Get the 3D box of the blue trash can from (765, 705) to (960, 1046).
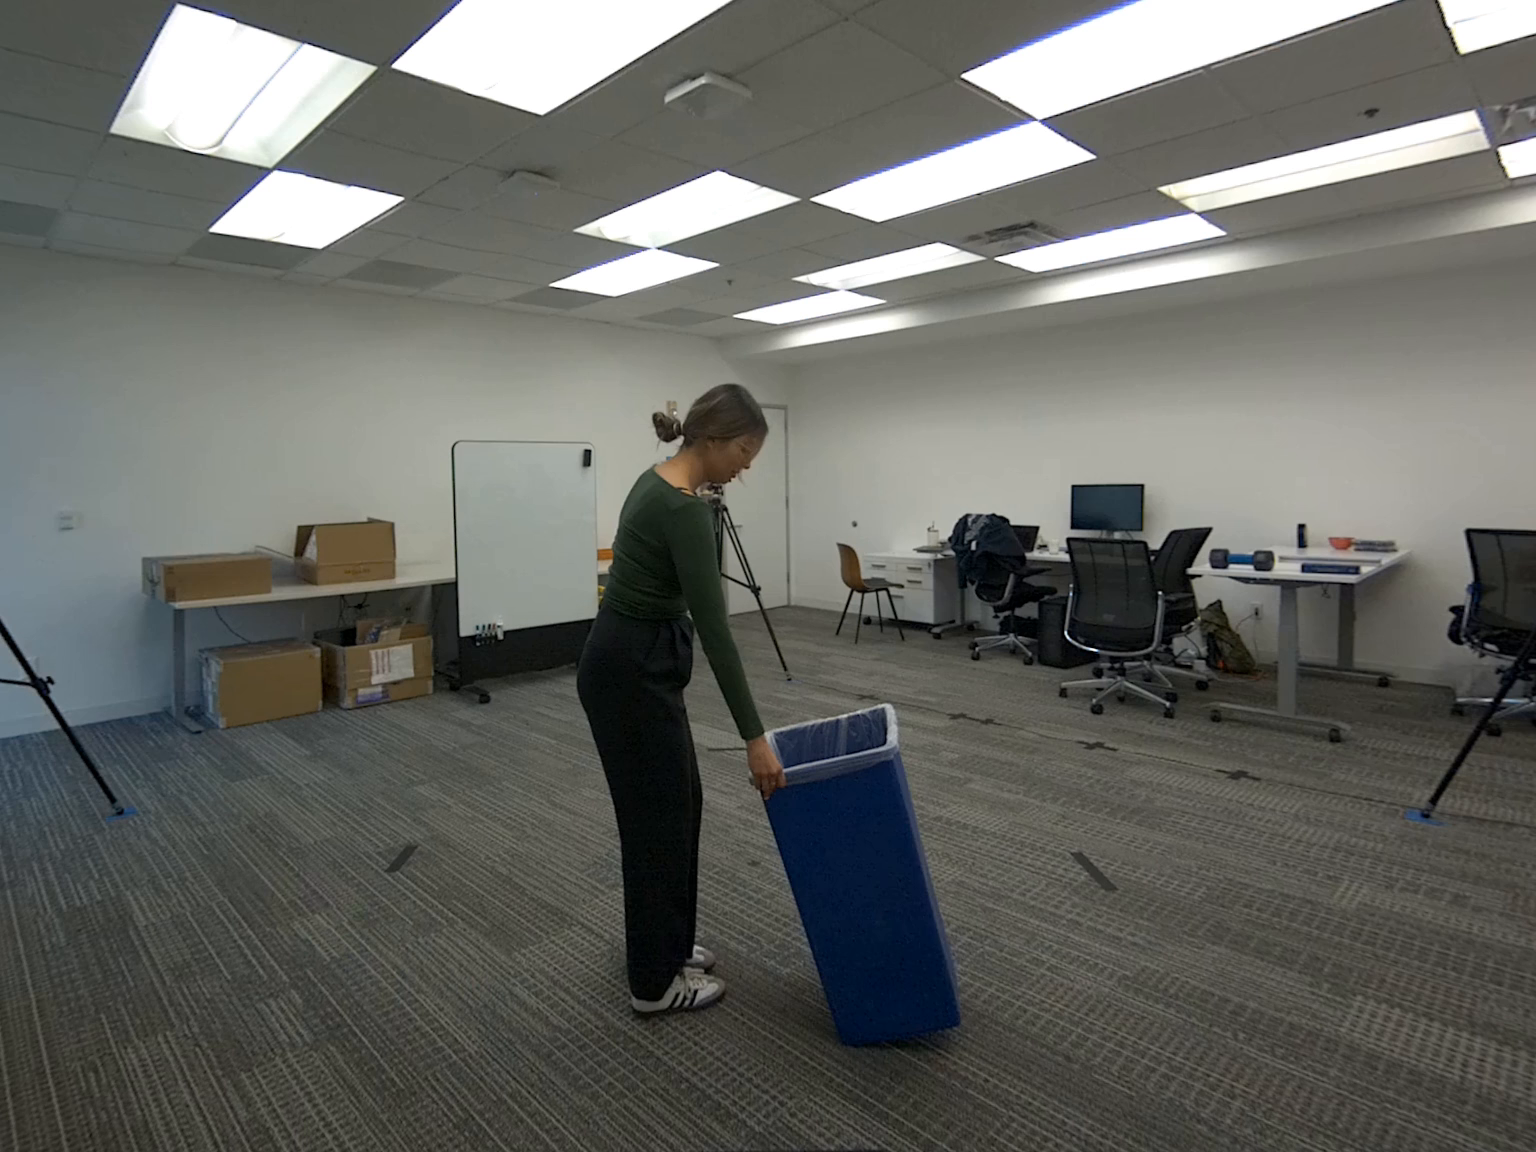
[{"bbox_3d":[0.248,0.757,2.216,0.376,0.712,0.377,-17,2,8],"label":"blue trash can"}]
